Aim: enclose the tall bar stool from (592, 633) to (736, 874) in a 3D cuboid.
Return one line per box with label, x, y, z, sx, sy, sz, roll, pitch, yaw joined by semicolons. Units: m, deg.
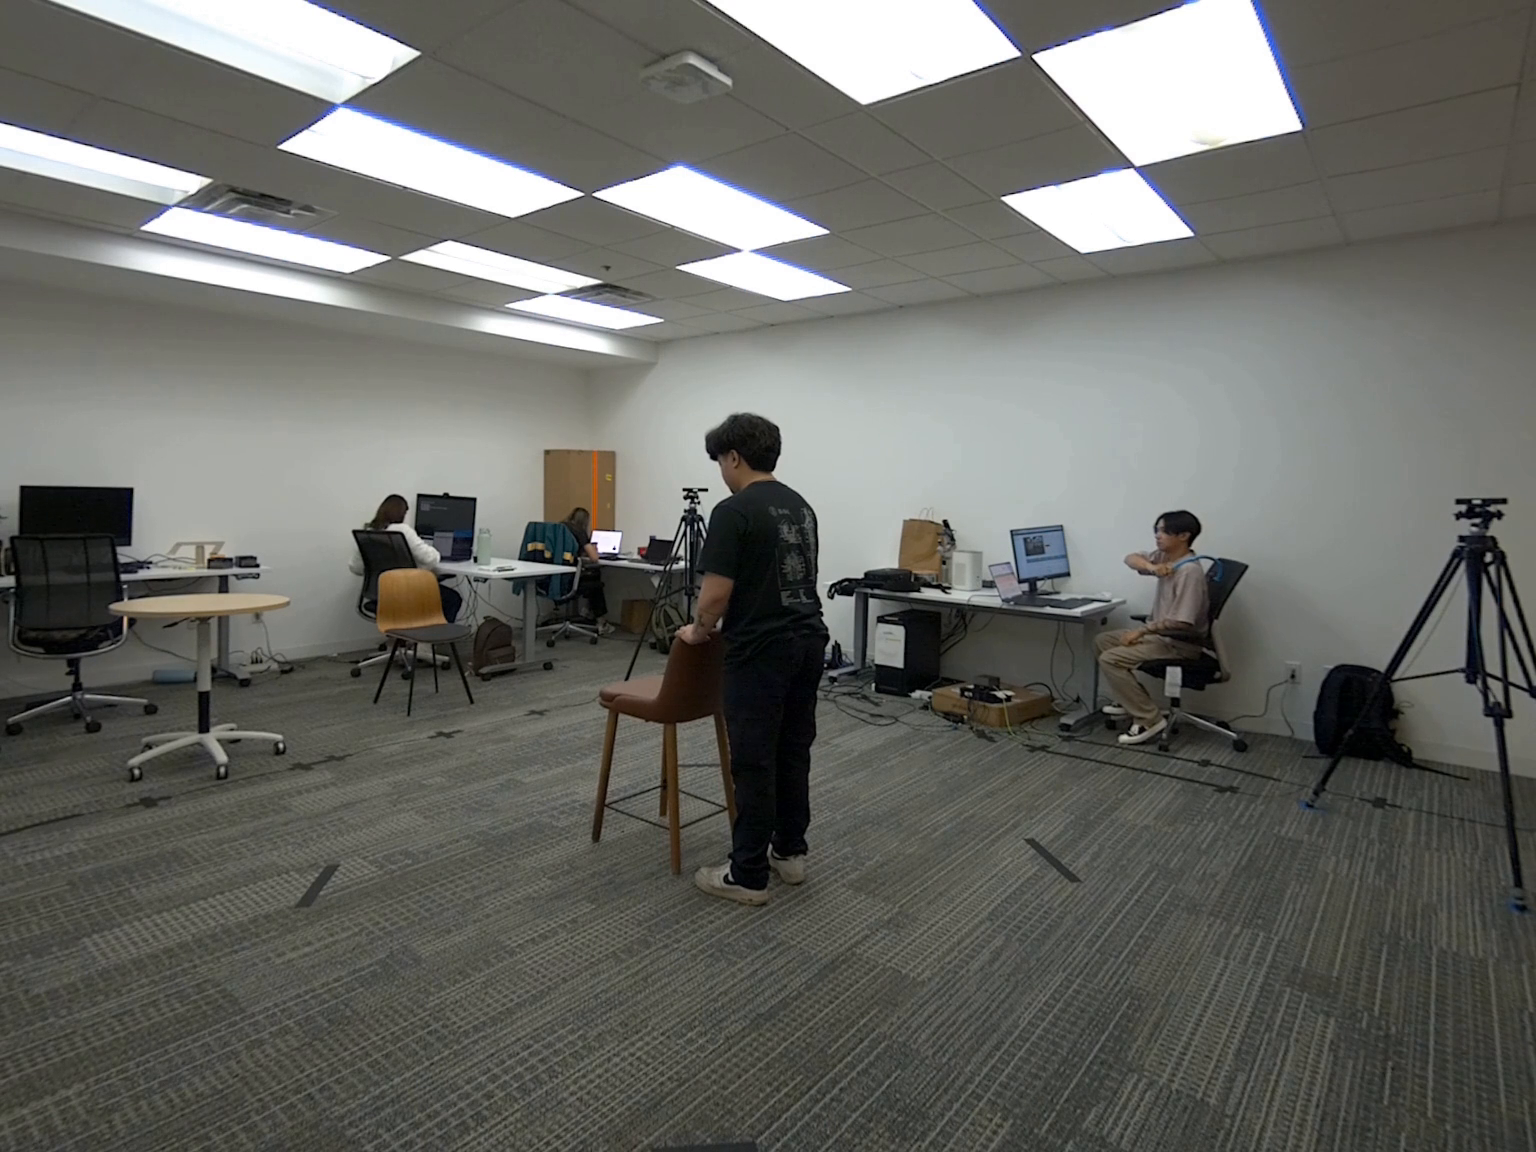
tall bar stool;-0.386;0.607;3.319;0.484;0.887;0.443;6;5;39
